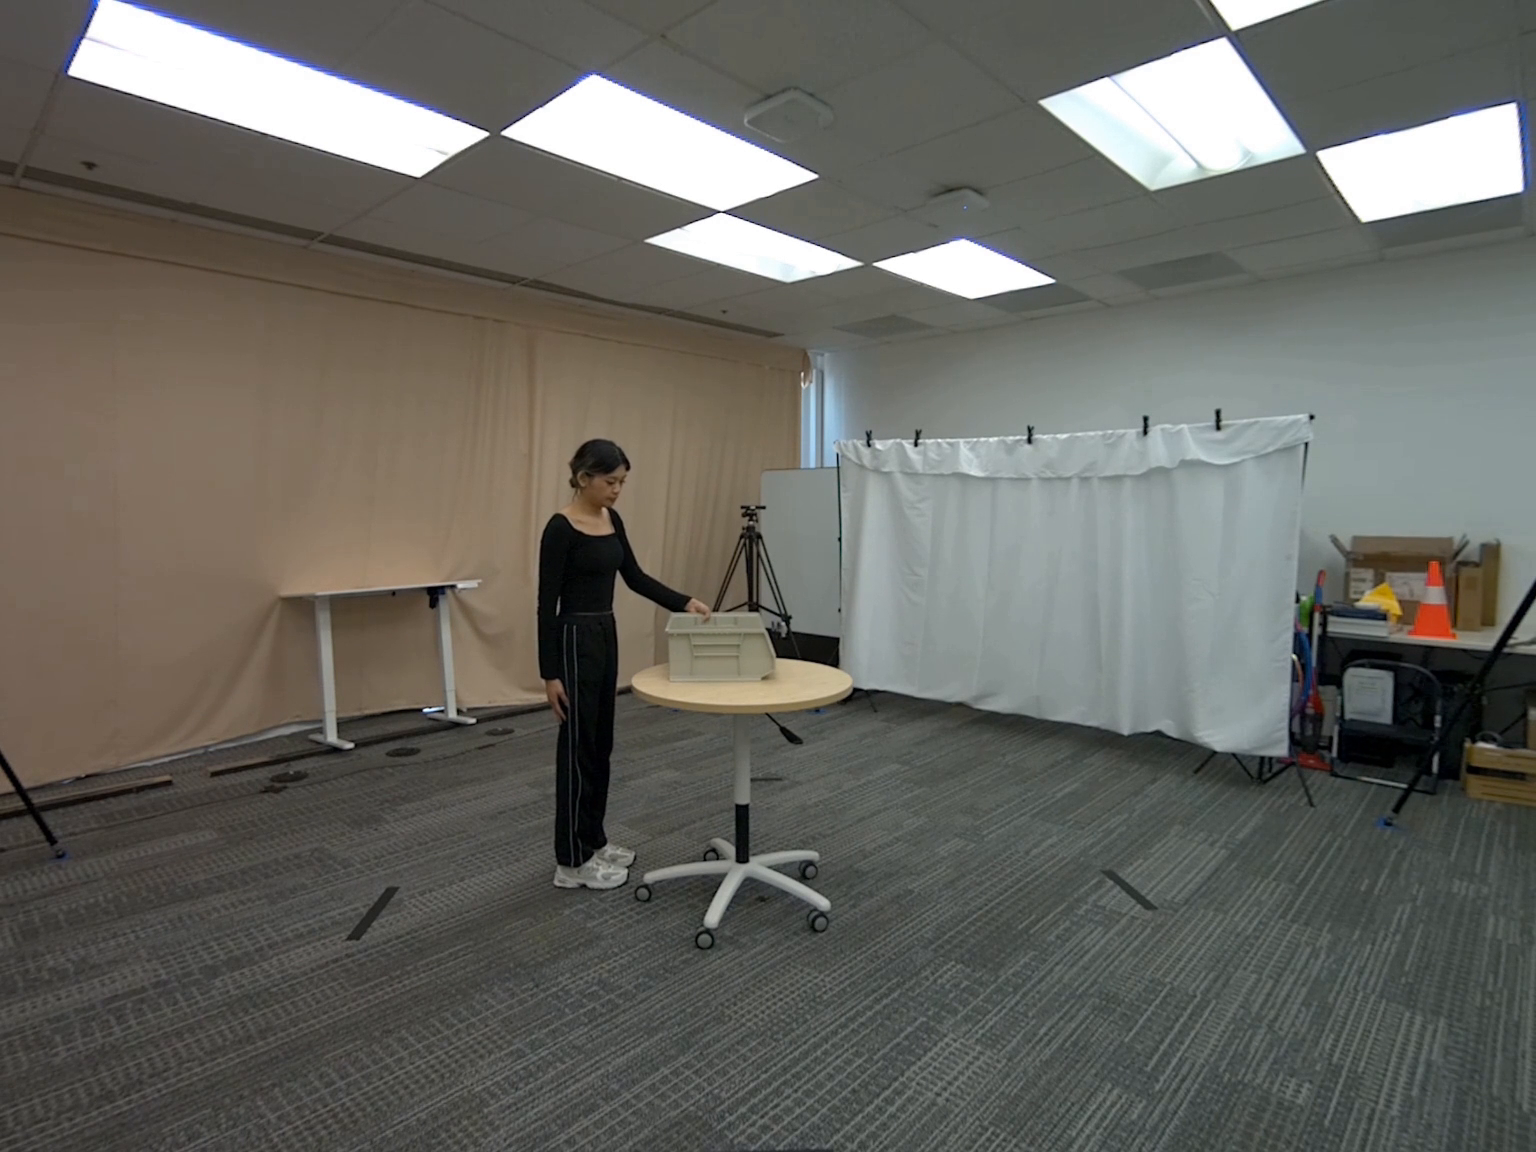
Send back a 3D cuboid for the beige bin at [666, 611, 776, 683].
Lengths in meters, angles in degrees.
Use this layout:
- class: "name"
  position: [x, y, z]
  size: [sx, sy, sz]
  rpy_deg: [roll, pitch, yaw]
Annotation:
- class: "beige bin"
  position: [-0.161, 0.255, 3.076]
  size: [0.377, 0.188, 0.424]
  rpy_deg: [-1, 5, -3]
